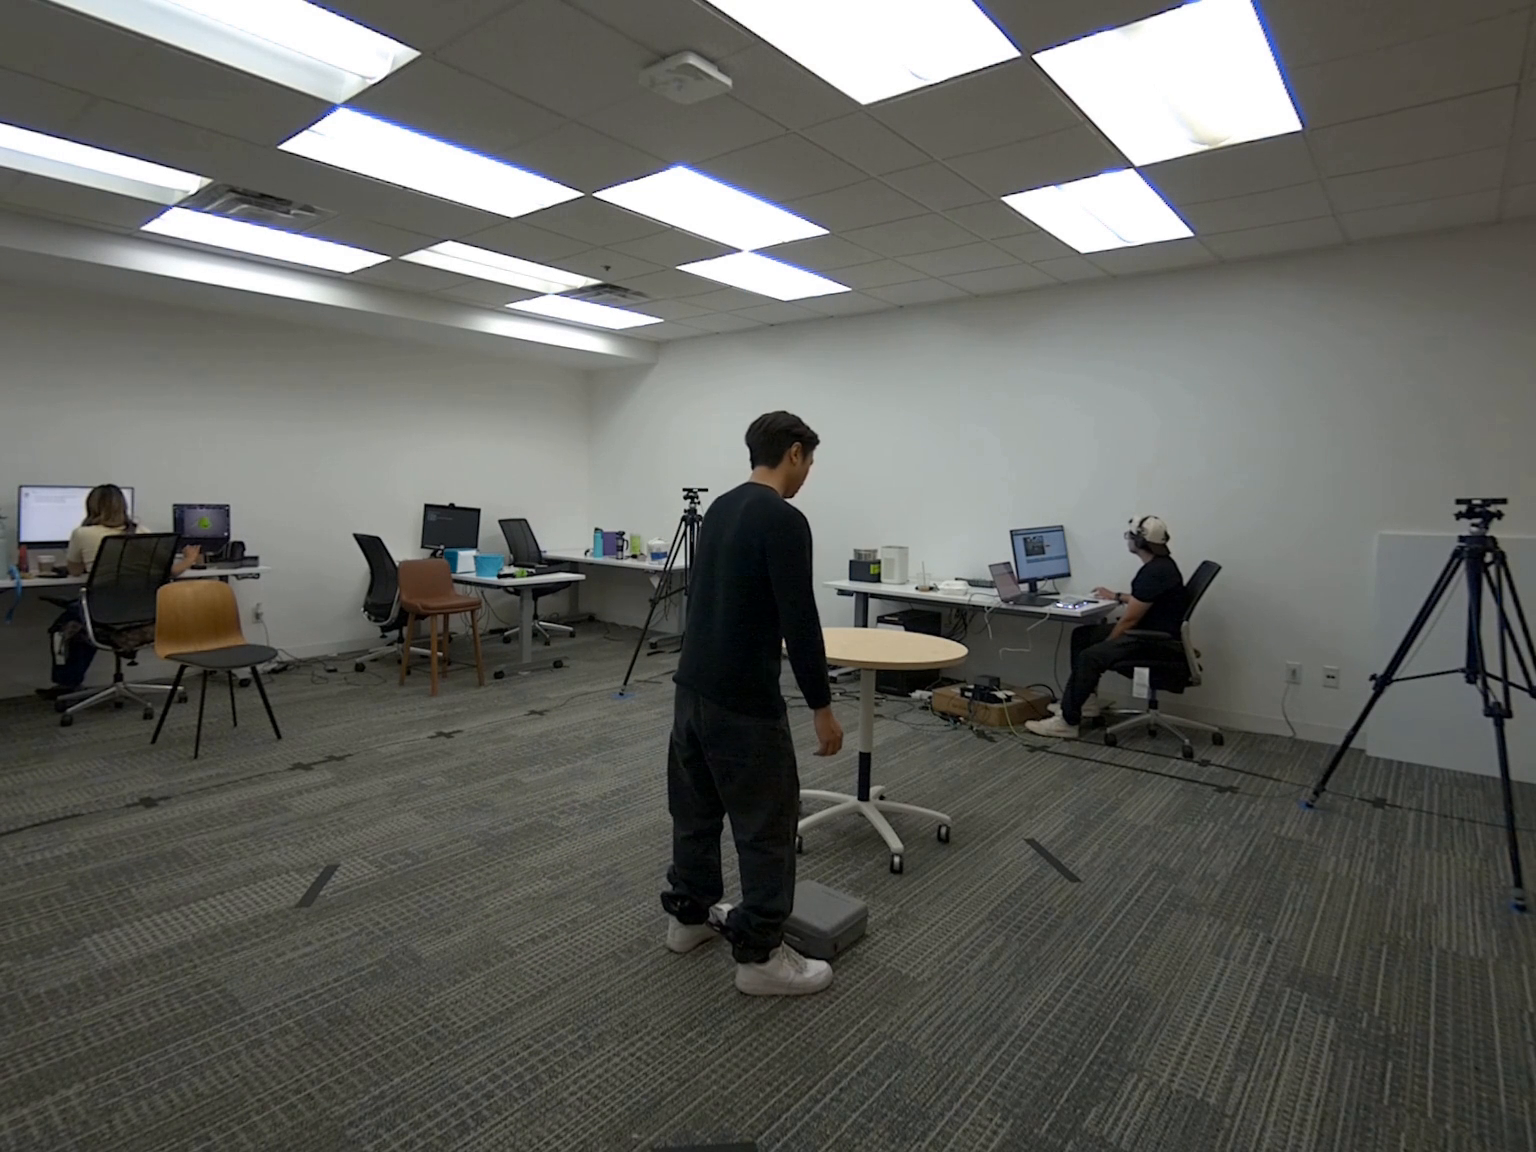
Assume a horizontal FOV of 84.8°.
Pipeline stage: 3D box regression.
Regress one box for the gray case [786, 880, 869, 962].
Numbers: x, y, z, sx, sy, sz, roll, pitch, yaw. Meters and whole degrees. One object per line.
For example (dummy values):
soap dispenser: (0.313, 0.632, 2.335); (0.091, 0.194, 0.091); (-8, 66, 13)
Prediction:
gray case: (0.146, 1.068, 2.656); (0.266, 0.104, 0.253); (7, 9, 38)
